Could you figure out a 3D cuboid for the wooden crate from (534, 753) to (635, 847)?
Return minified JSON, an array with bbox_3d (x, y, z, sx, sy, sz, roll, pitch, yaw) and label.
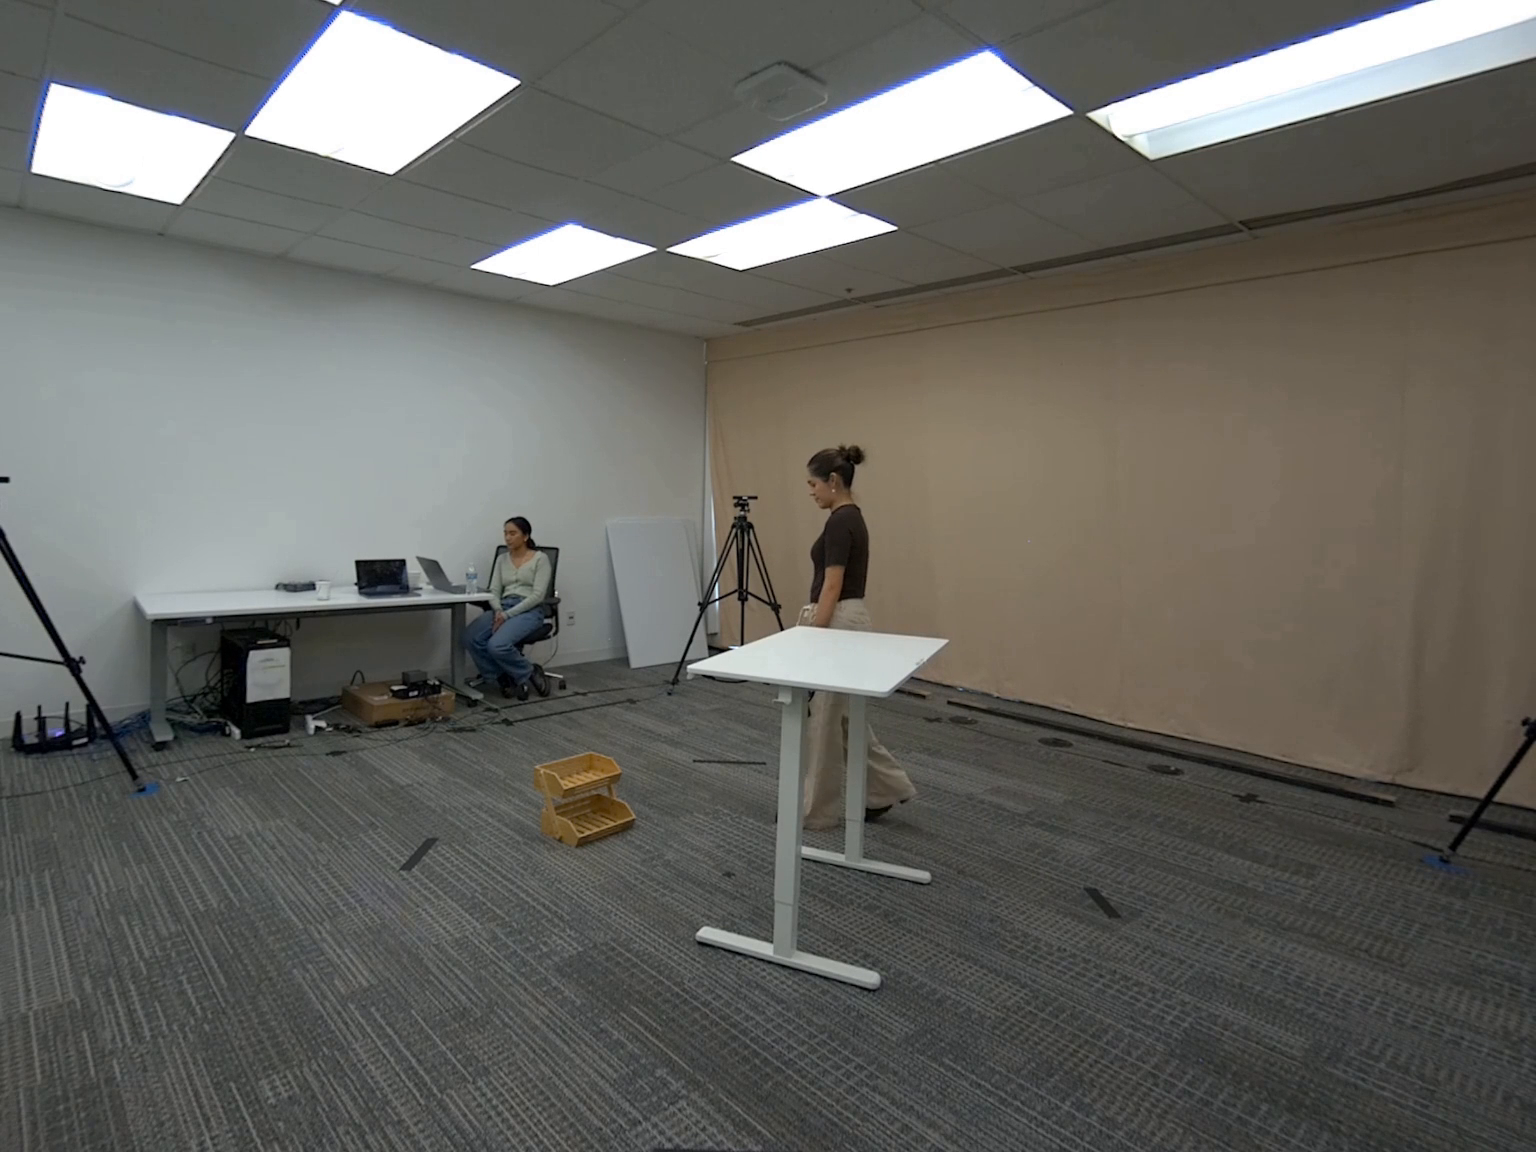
[{"bbox_3d":[-0.770,0.920,3.508,0.309,0.273,0.317,4,5,41],"label":"wooden crate"}]
